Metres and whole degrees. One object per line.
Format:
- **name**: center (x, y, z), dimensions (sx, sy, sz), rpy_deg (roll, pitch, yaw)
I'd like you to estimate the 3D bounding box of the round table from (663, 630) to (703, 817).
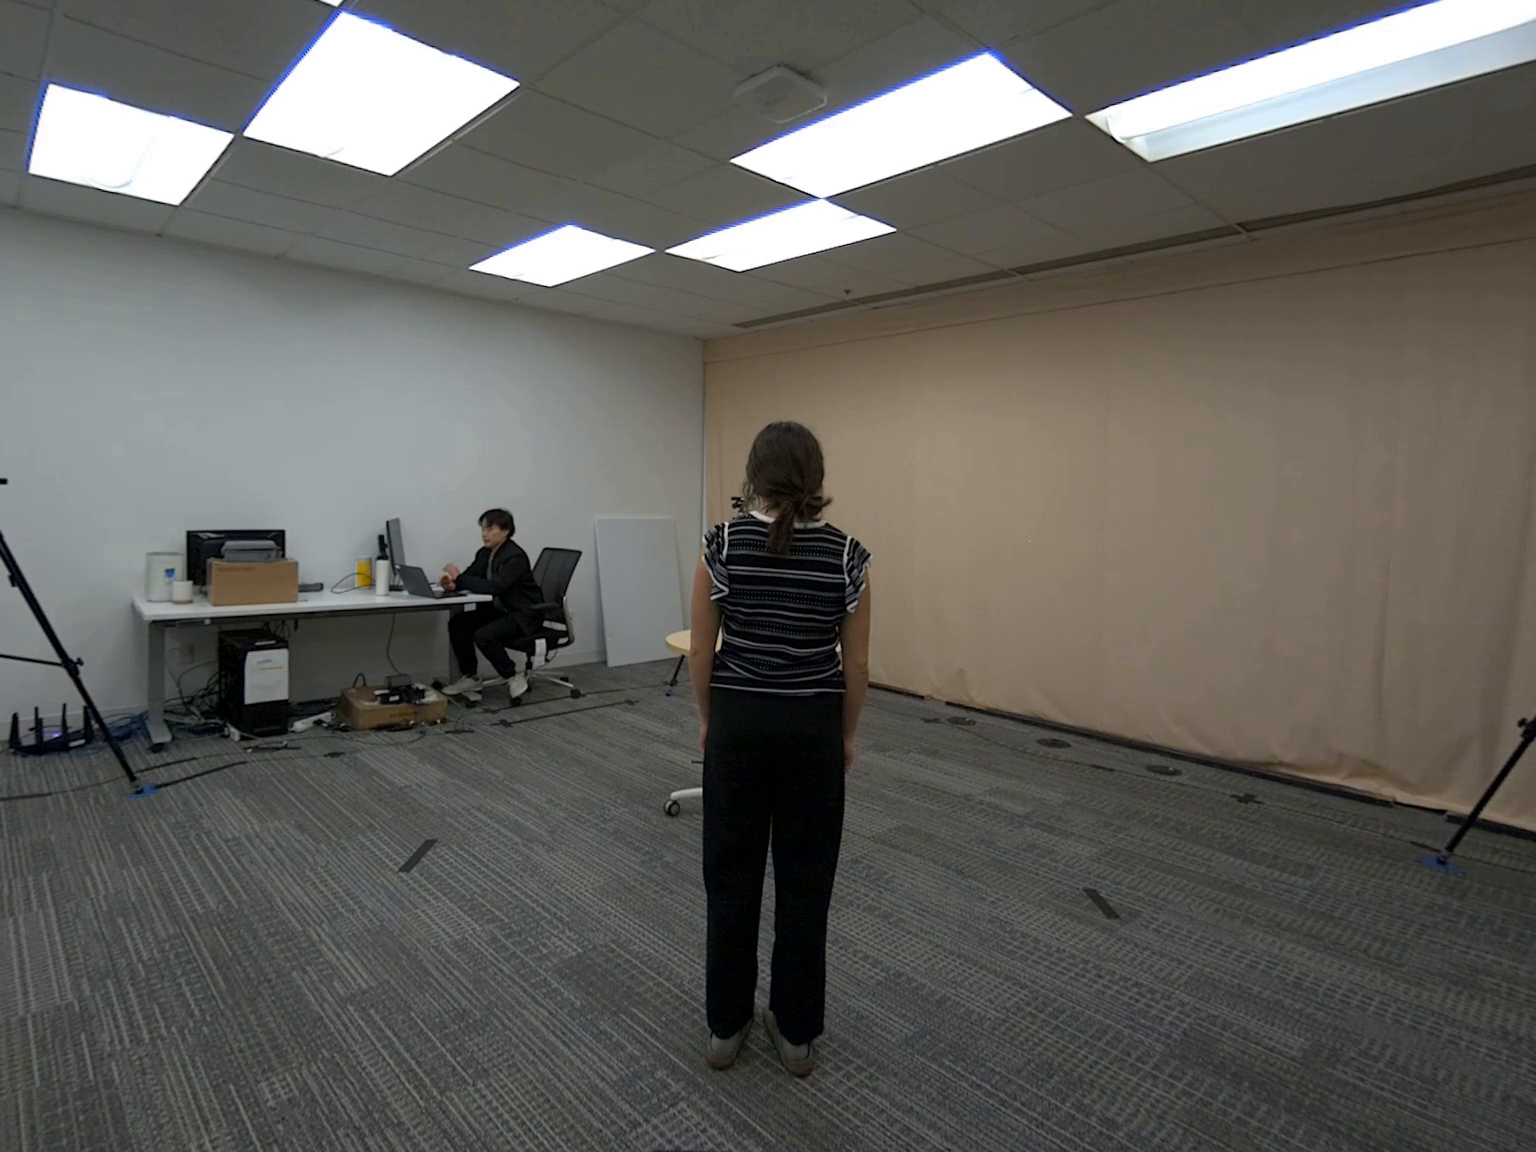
- **round table**: center (-0.062, 0.673, 3.638), dimensions (0.784, 0.784, 0.788), rpy_deg (2, 4, -1)
